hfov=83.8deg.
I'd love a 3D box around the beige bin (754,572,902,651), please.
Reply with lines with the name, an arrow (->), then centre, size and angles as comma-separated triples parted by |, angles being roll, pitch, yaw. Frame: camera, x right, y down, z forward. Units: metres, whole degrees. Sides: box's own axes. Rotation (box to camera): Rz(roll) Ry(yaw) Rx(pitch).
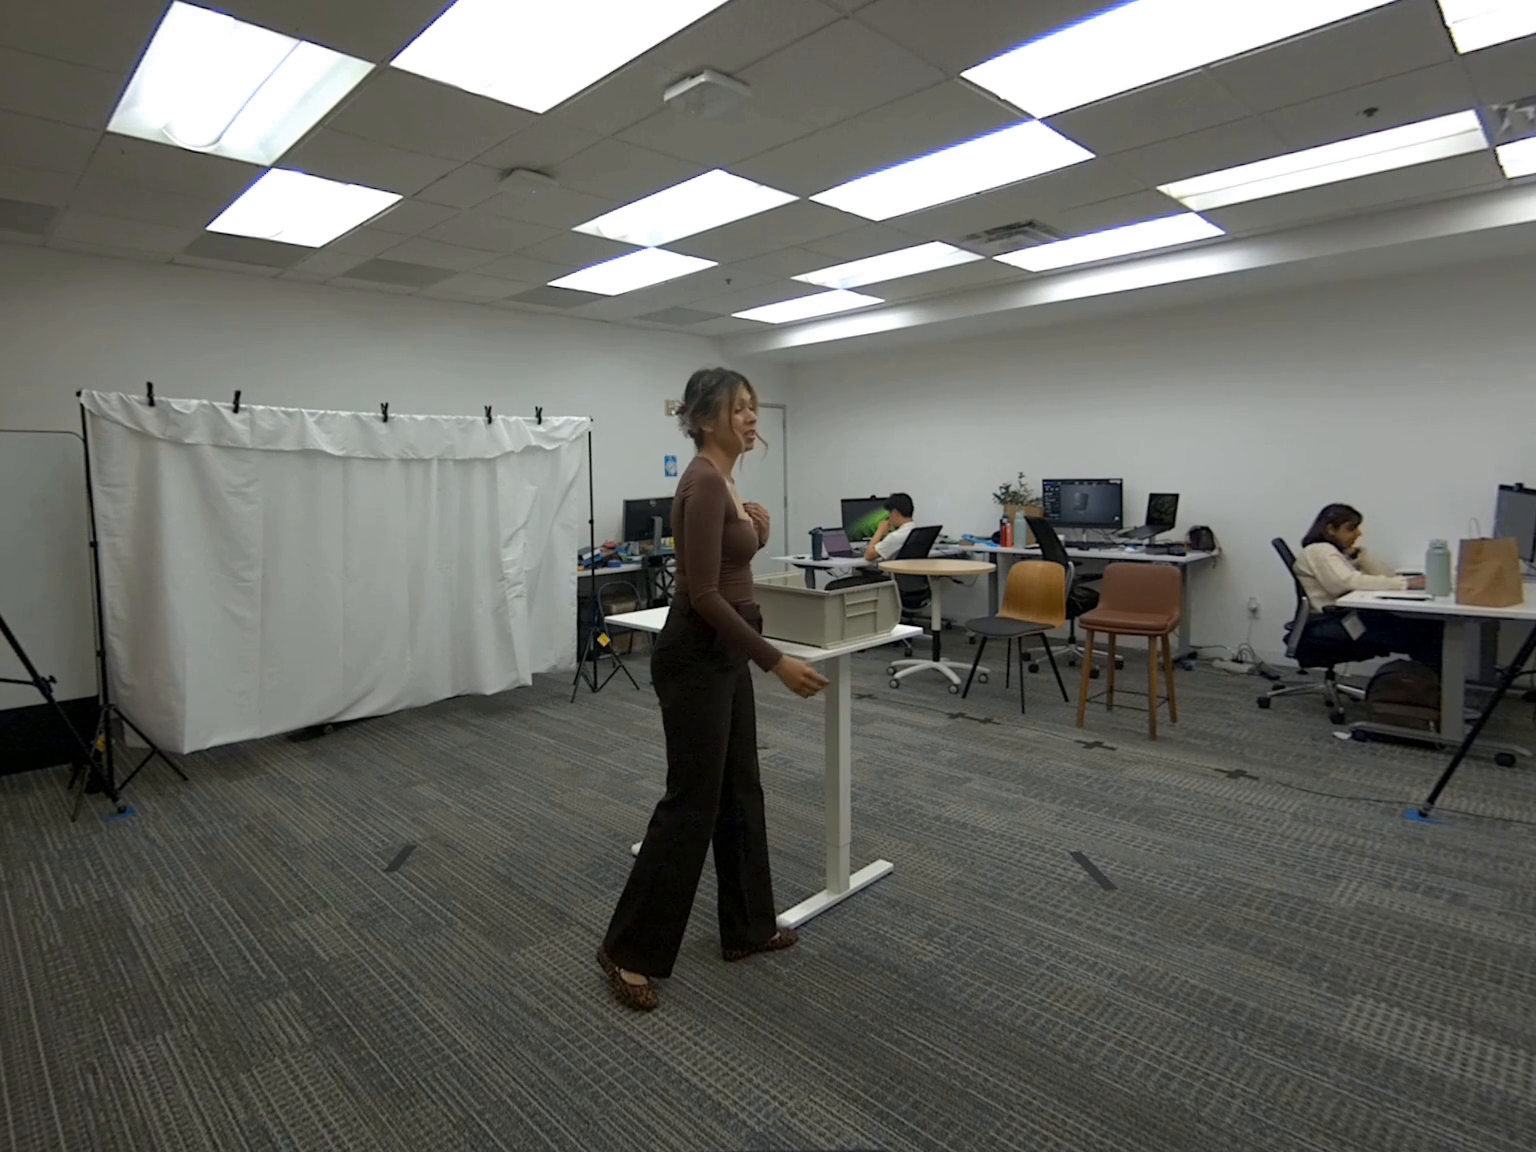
beige bin -> 0.159, 0.104, 2.821 | 0.368, 0.188, 0.436 | -9, 11, -44
